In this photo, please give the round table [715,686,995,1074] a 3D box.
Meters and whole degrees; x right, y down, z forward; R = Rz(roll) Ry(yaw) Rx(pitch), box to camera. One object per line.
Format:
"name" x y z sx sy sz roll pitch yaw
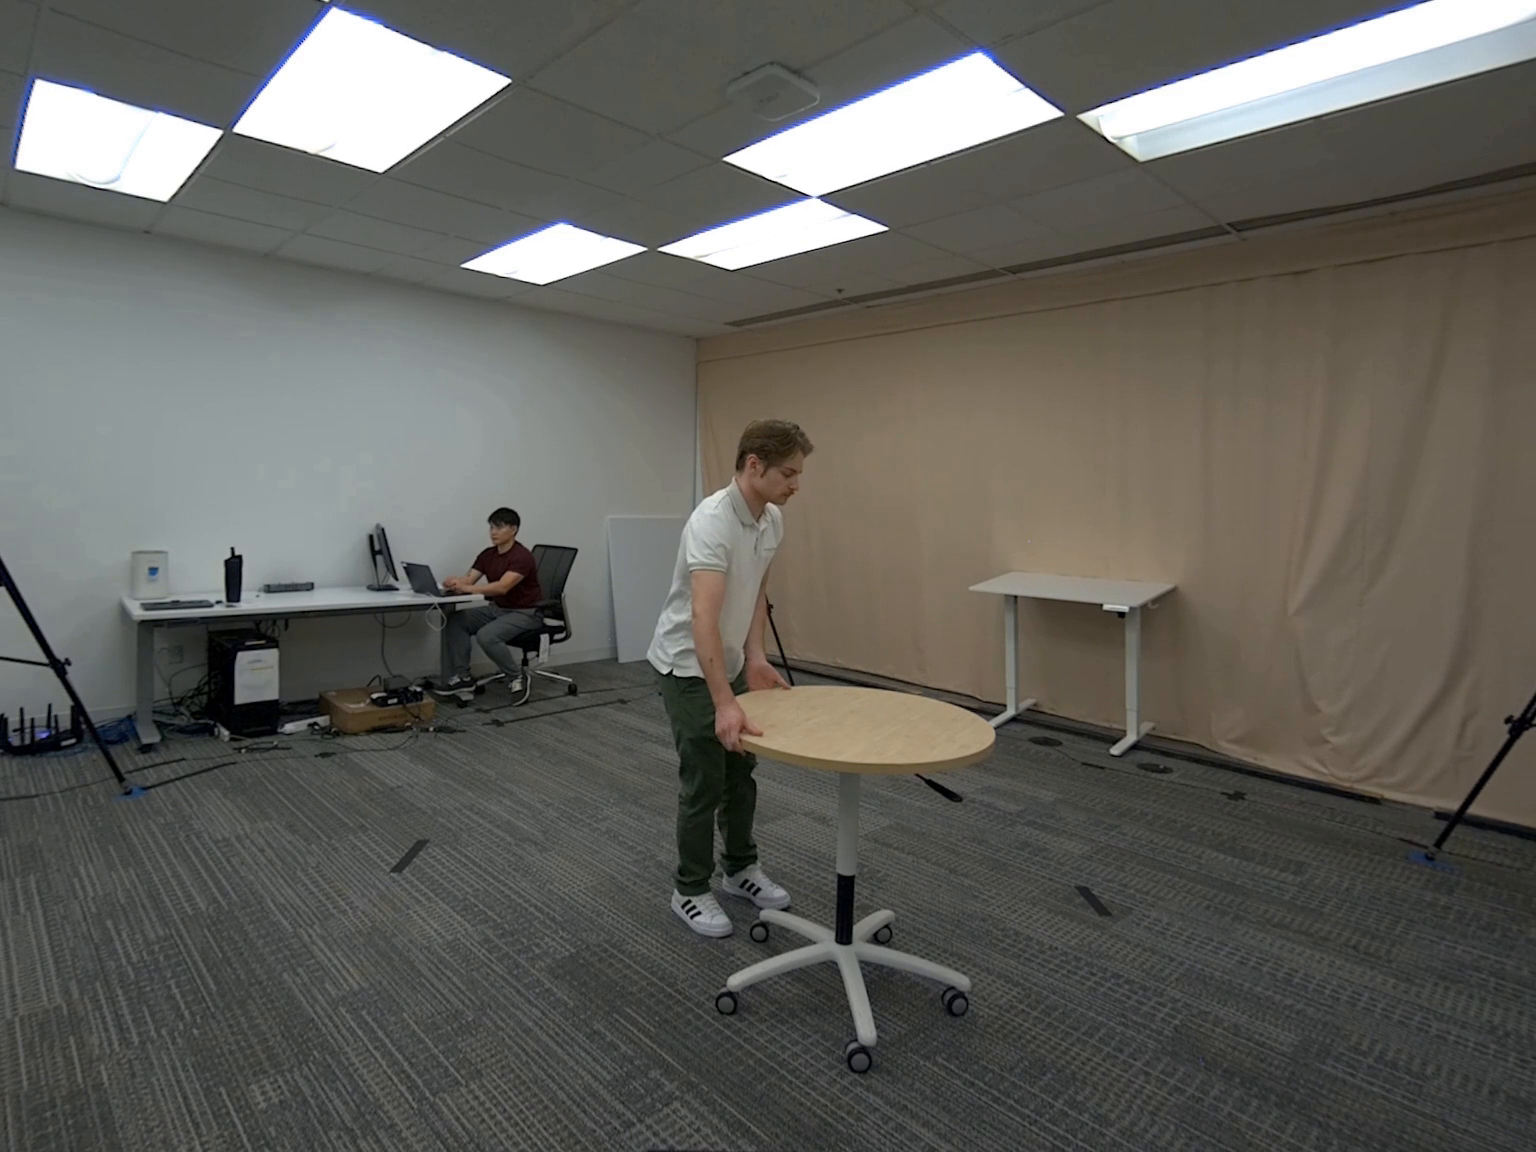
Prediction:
"round table" 0.220 0.792 2.378 0.763 0.791 0.767 2 5 -2
